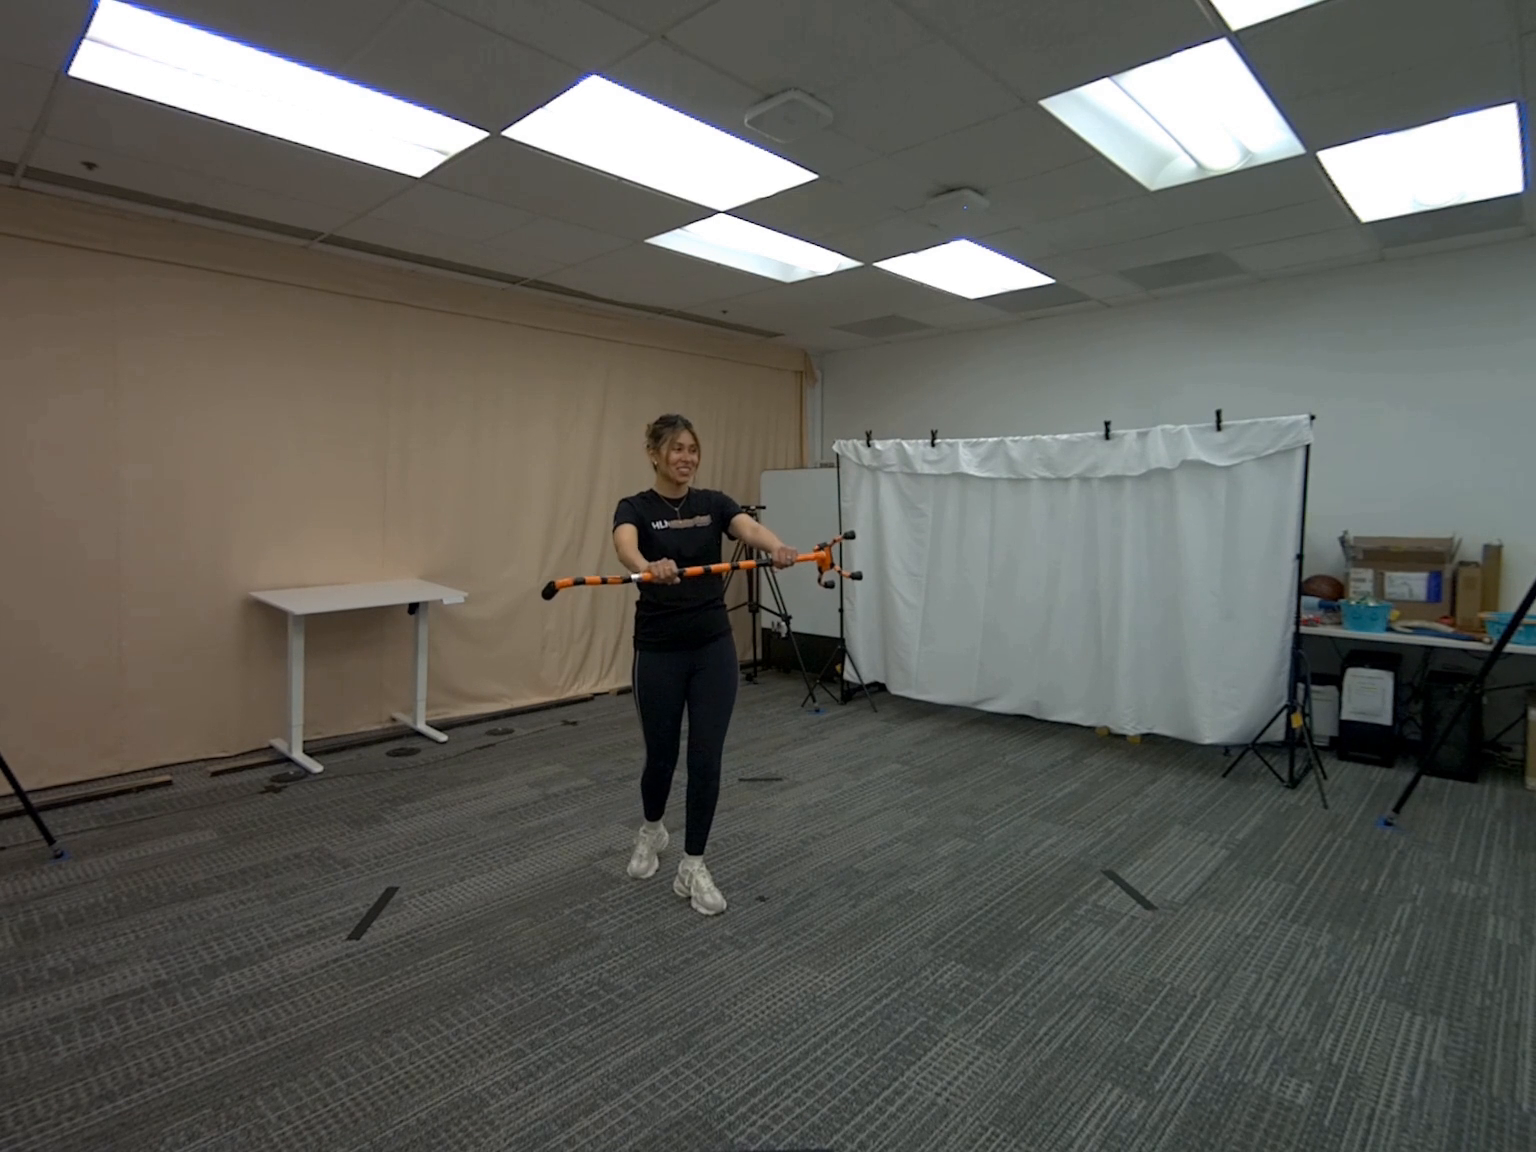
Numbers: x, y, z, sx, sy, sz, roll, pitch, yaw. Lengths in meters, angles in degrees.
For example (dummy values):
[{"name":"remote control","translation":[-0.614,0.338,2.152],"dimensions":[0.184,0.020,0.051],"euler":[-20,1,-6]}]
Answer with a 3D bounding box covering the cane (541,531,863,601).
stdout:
[{"name":"cane","translation":[-0.182,0.001,2.415],"dimensions":[0.894,0.152,0.208],"euler":[-6,-8,-16]}]
